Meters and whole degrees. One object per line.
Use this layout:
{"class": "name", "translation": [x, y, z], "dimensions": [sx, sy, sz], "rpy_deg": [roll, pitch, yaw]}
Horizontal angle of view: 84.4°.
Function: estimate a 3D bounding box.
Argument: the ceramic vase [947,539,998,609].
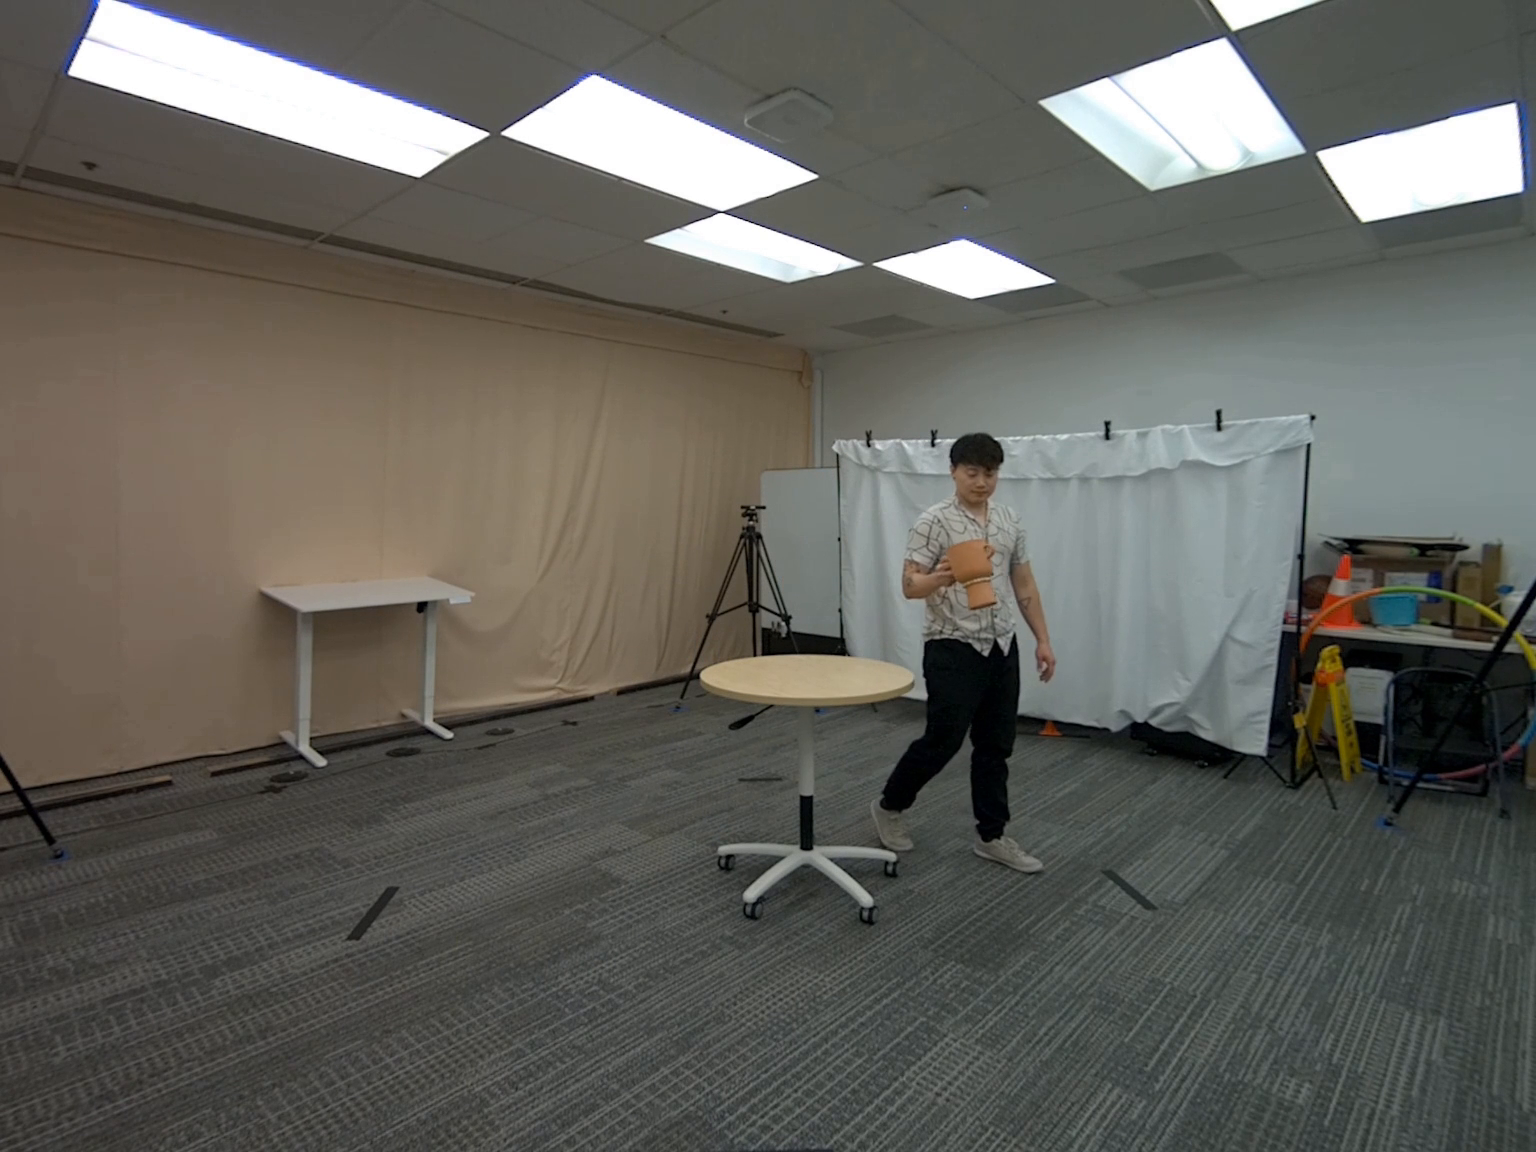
{"class": "ceramic vase", "translation": [0.698, 0.001, 2.860], "dimensions": [0.134, 0.222, 0.157], "rpy_deg": [-12, -11, -2]}
